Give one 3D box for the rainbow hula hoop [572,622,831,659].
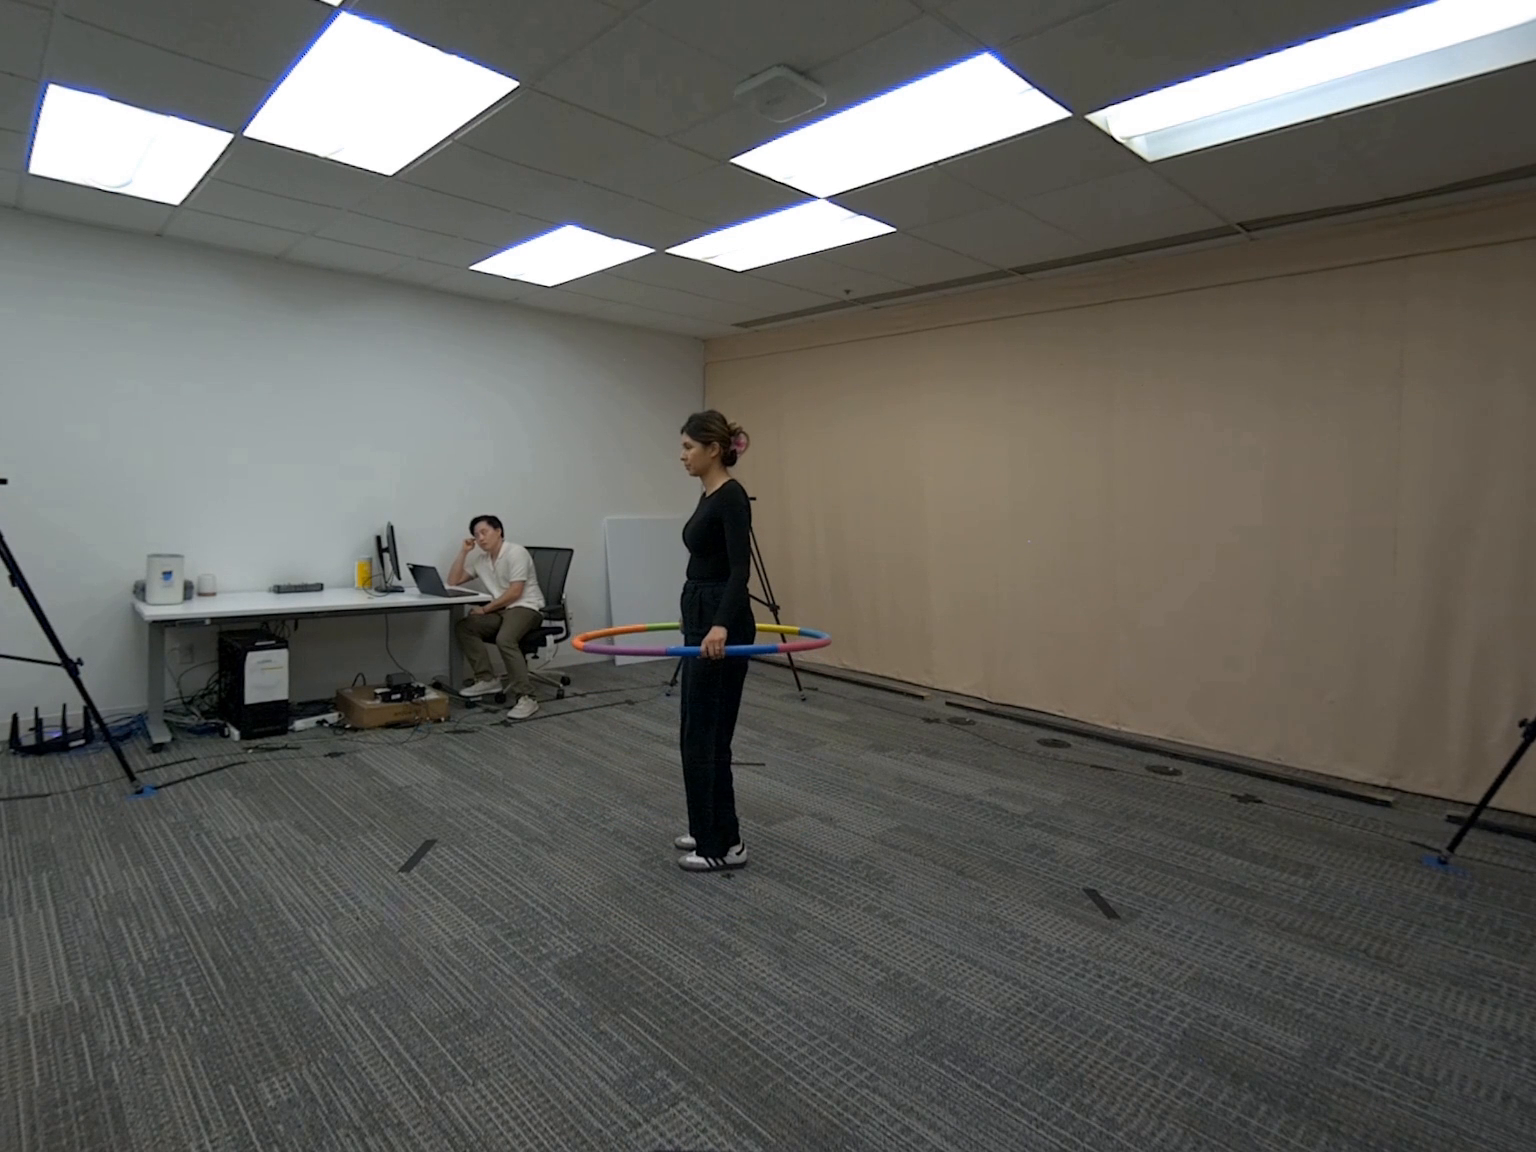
[{"bbox_3d":[-0.251,0.239,3.248,0.978,0.035,0.979,0,2,-1],"label":"rainbow hula hoop"}]
